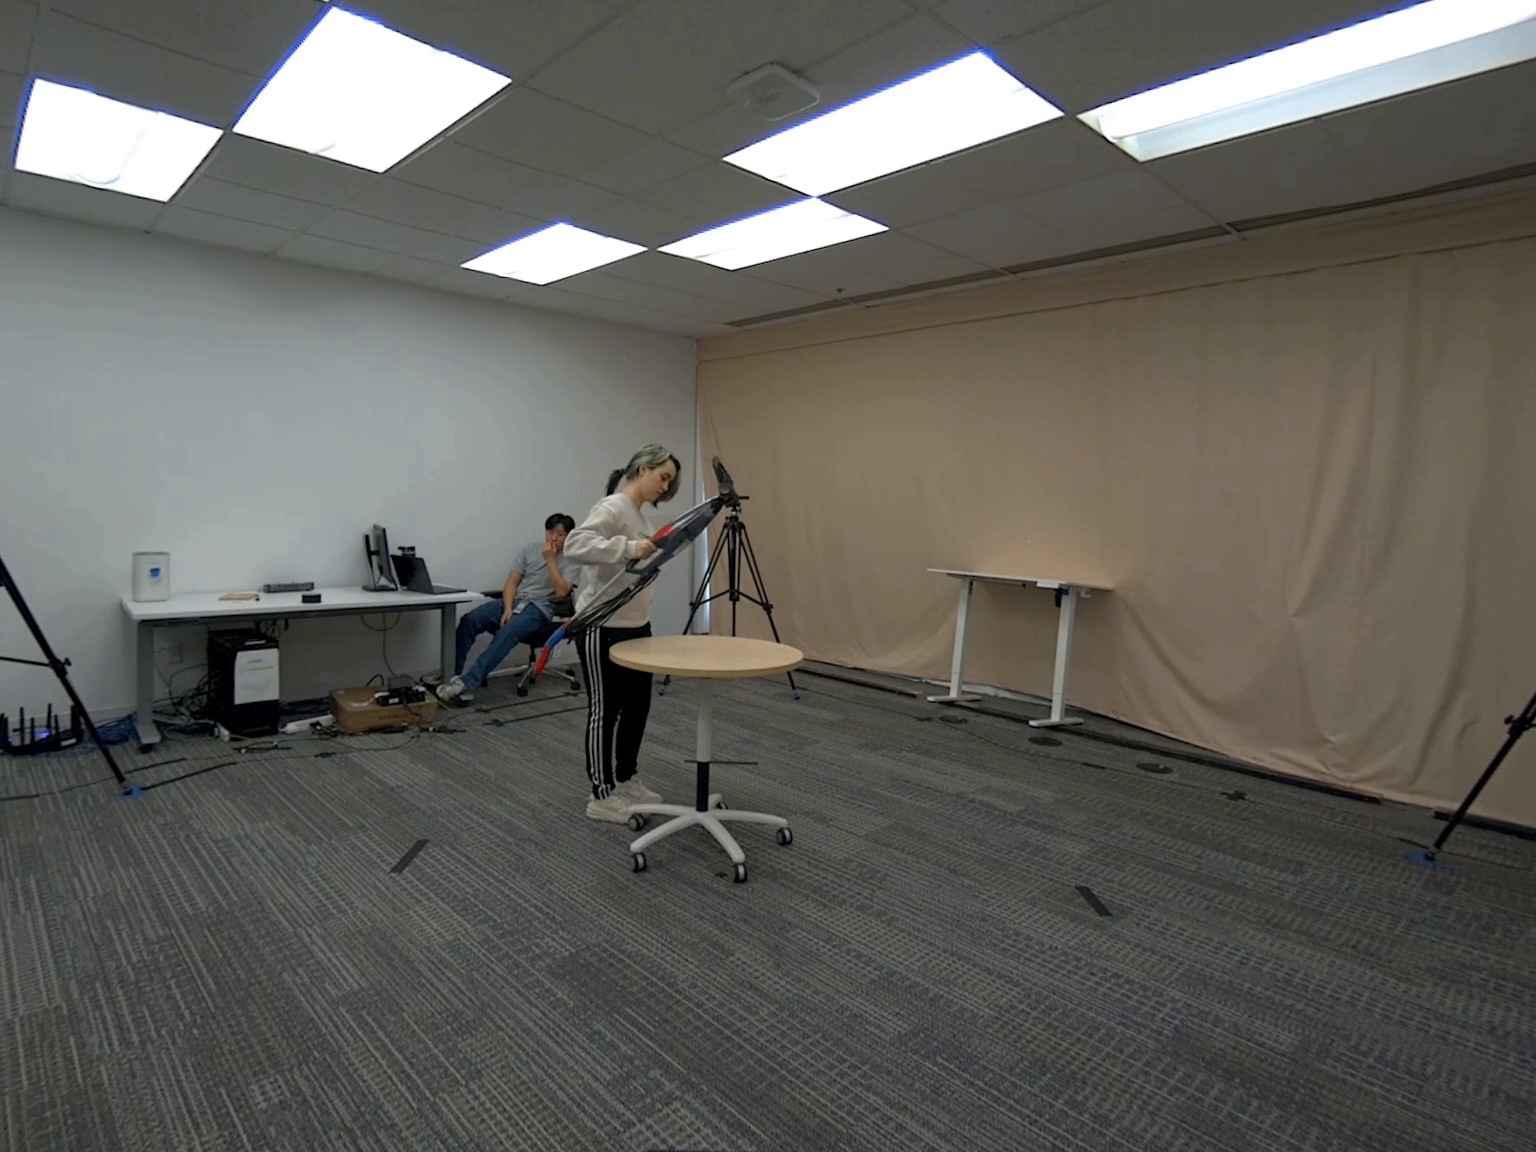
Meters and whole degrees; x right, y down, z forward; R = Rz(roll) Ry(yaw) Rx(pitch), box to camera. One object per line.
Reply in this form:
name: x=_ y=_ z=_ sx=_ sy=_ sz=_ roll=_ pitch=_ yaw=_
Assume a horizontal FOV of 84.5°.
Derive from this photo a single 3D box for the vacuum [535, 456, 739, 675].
vacuum: x=-0.519 y=0.004 z=3.284 sx=0.147 sy=1.049 sz=0.247 roll=42 pitch=-4 yaw=19
